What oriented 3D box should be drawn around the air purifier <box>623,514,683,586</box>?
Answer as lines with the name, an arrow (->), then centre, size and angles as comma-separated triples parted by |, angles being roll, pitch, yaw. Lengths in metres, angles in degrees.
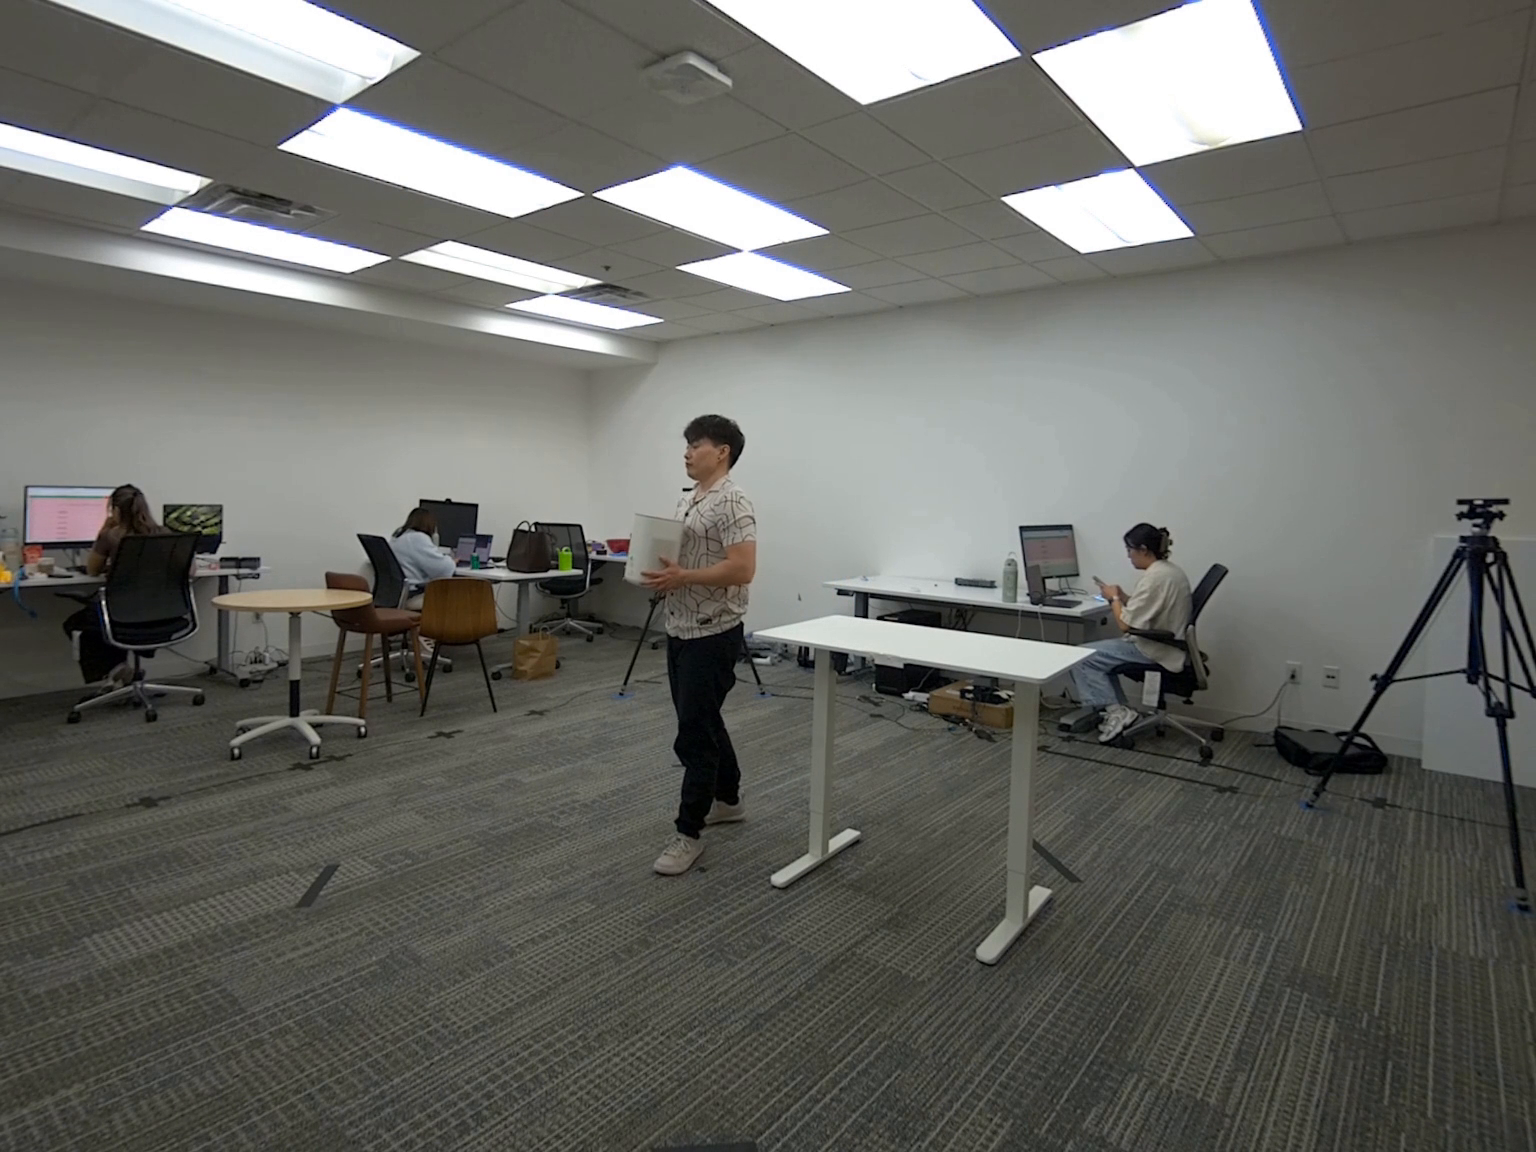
air purifier -> -0.444, -0.098, 3.235 | 0.166, 0.265, 0.176 | 11, 1, -31
